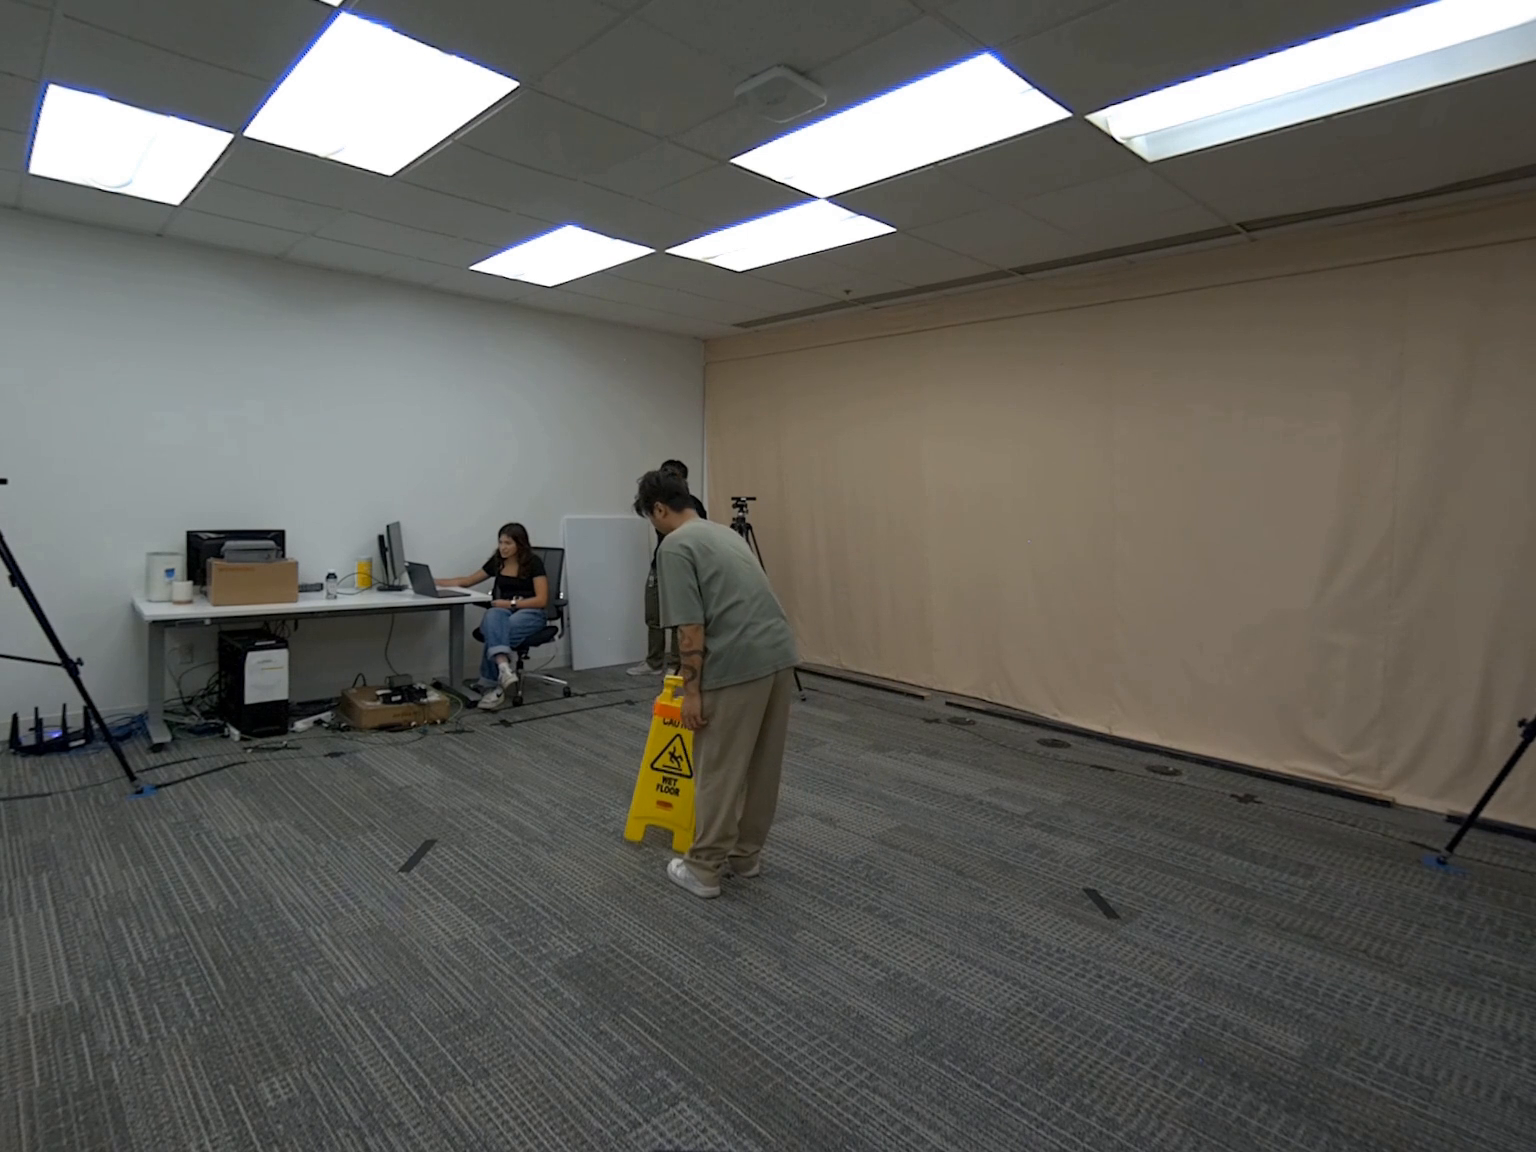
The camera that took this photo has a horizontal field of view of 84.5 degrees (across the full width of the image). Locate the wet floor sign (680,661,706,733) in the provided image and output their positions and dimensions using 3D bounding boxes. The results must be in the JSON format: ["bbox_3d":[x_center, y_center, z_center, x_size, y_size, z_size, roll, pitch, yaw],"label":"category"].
[{"bbox_3d":[-0.387,0.747,3.422,0.285,0.644,0.288,8,4,9],"label":"wet floor sign"}]
